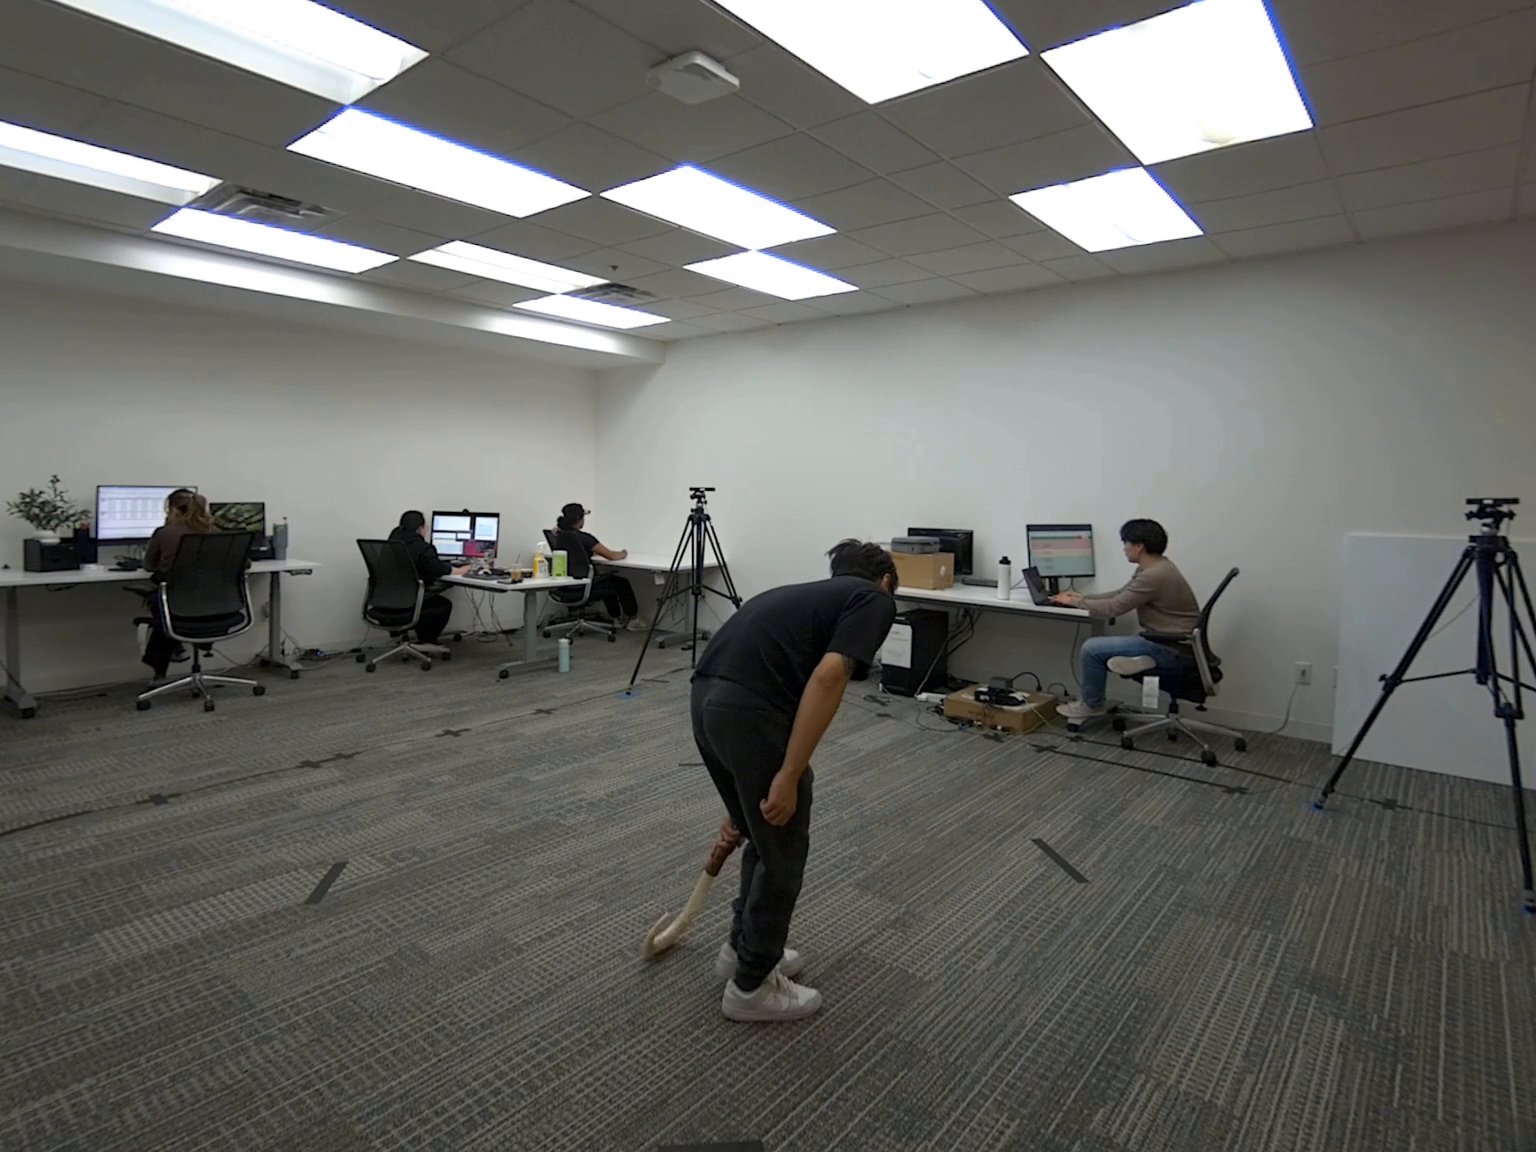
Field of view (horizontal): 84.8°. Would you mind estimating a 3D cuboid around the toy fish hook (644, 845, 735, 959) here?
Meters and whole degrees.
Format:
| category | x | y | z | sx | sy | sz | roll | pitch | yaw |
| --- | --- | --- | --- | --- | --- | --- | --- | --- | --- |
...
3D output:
| category | x | y | z | sx | sy | sz | roll | pitch | yaw |
| --- | --- | --- | --- | --- | --- | --- | --- | --- | --- |
| toy fish hook | -0.227 | 0.913 | 2.471 | 0.050 | 0.504 | 0.218 | 36 | 16 | 22 |
